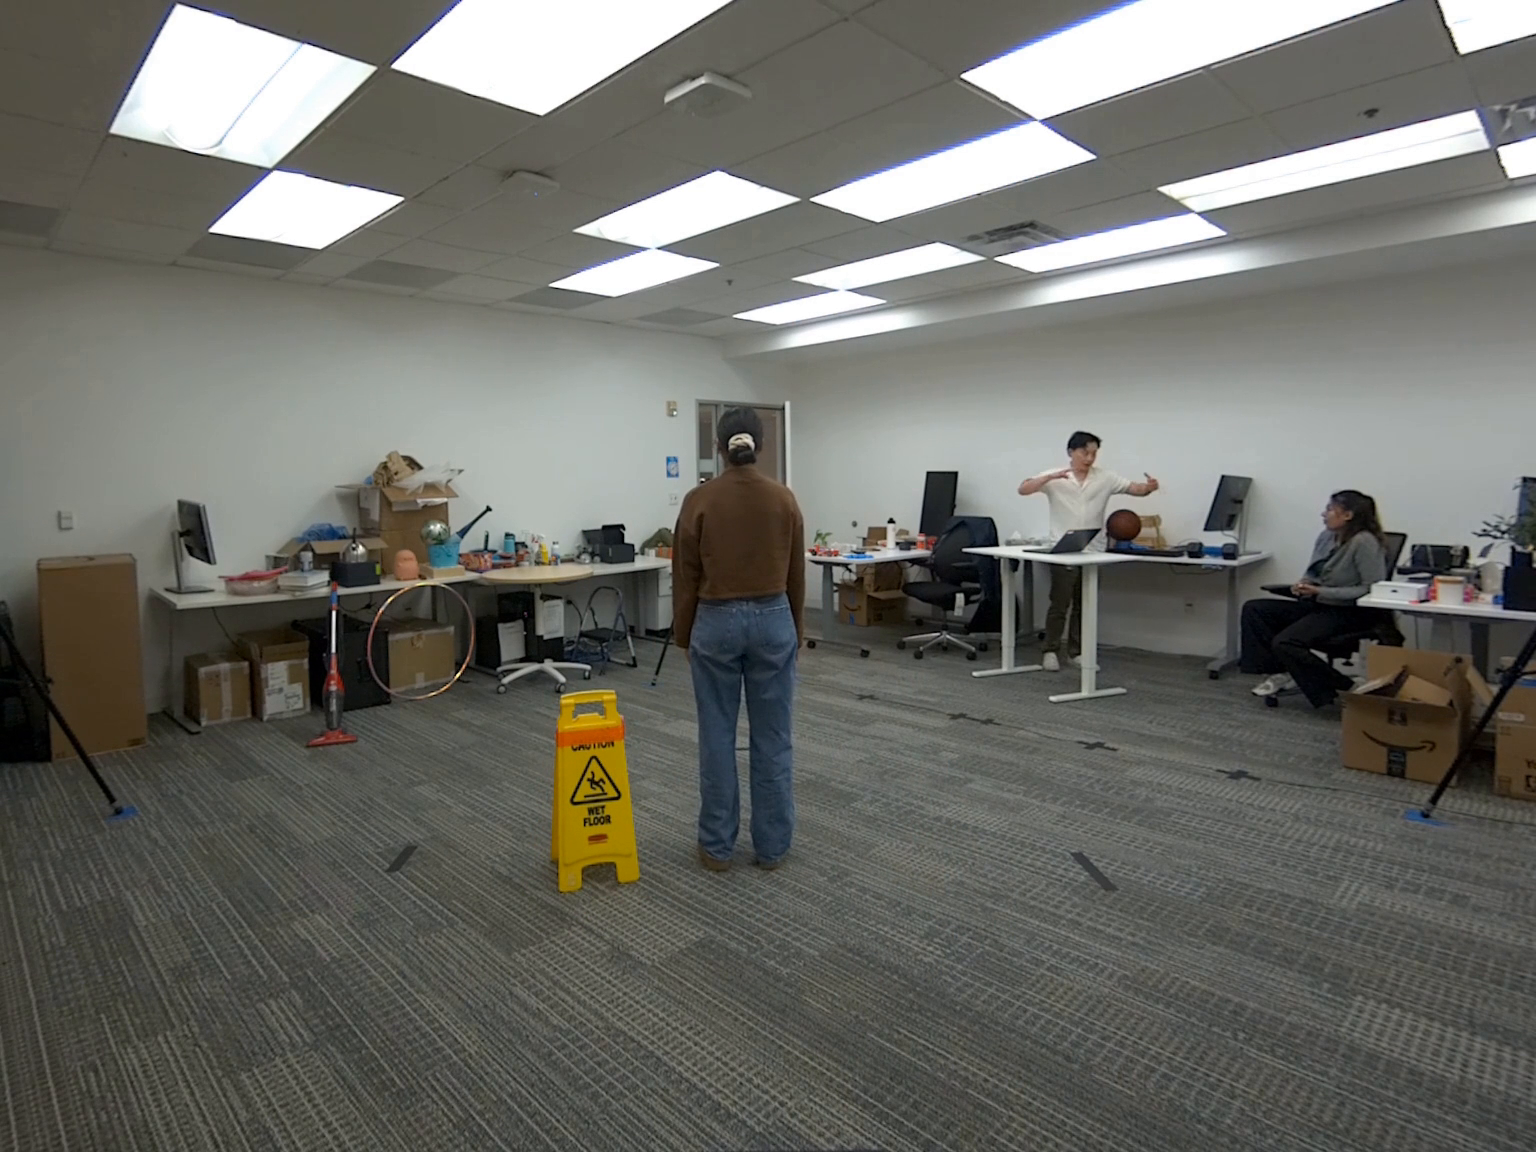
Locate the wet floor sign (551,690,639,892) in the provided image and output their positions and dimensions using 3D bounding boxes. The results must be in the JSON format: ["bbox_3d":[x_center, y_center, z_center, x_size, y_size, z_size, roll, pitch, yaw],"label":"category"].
[{"bbox_3d":[-0.629,0.736,3.053,0.278,0.643,0.296,-3,5,-18],"label":"wet floor sign"}]
